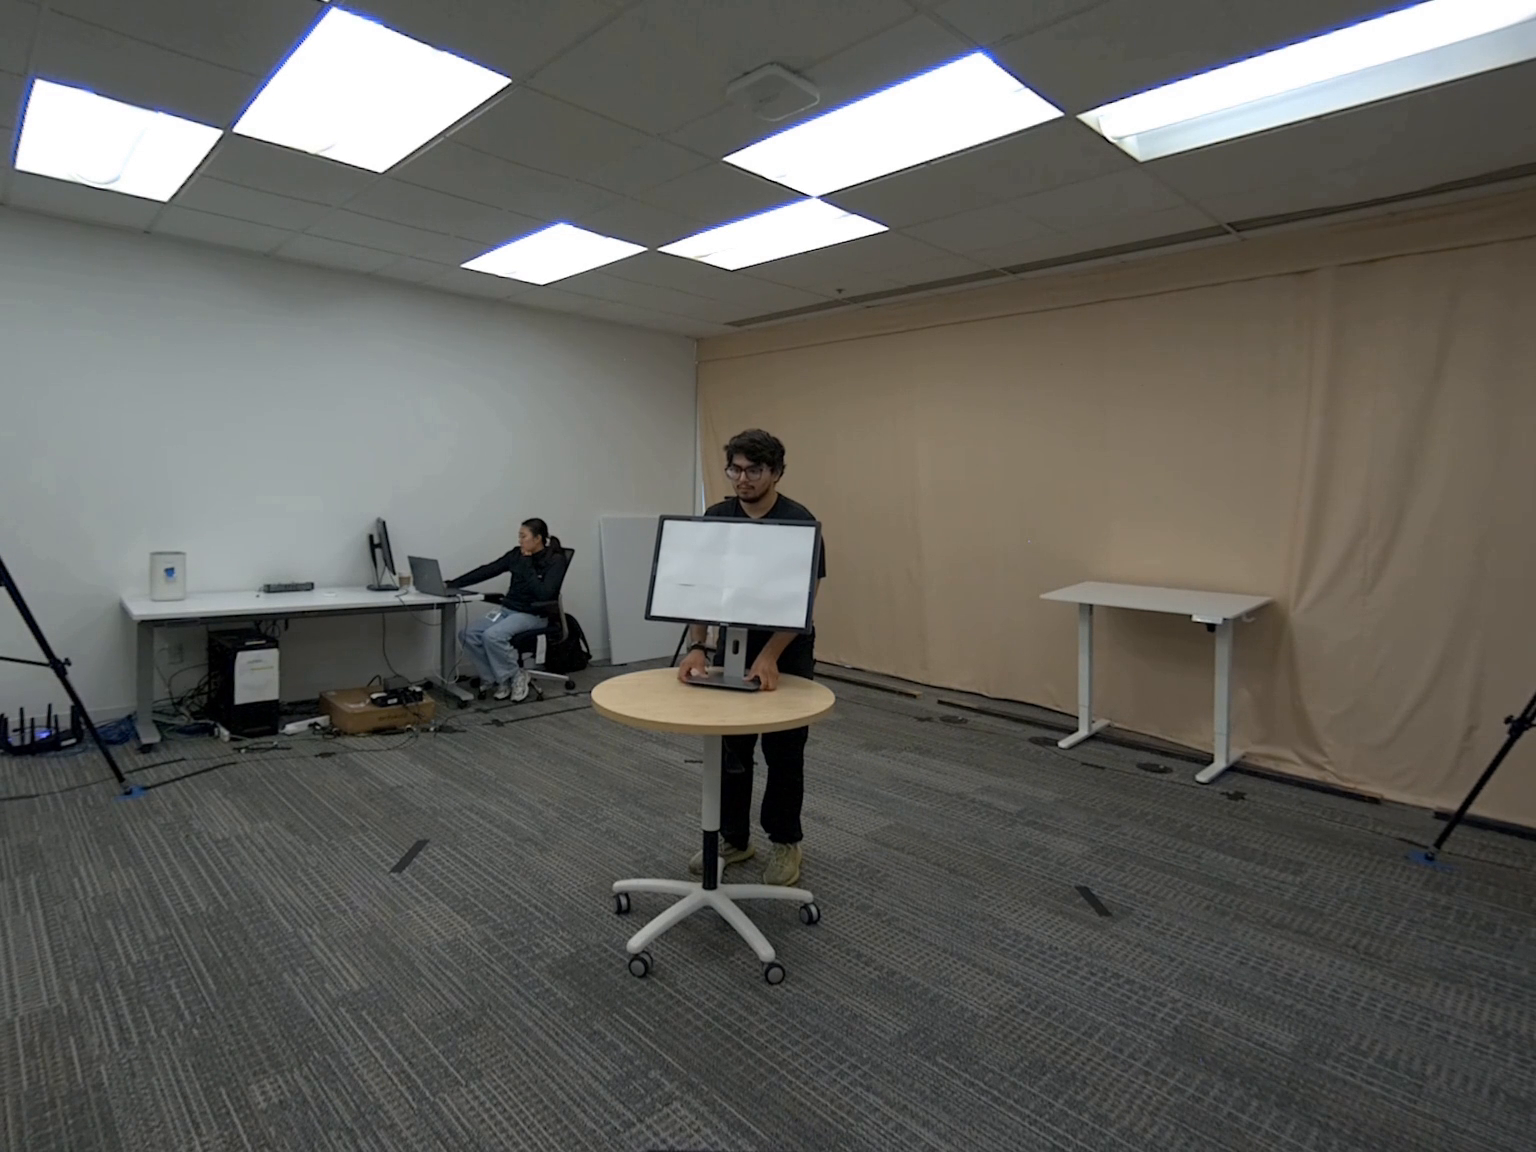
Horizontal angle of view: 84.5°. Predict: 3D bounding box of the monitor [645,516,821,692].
[{"bbox_3d":[-0.115,0.085,2.802,0.573,0.556,0.206,3,-6,18],"label":"monitor"}]
